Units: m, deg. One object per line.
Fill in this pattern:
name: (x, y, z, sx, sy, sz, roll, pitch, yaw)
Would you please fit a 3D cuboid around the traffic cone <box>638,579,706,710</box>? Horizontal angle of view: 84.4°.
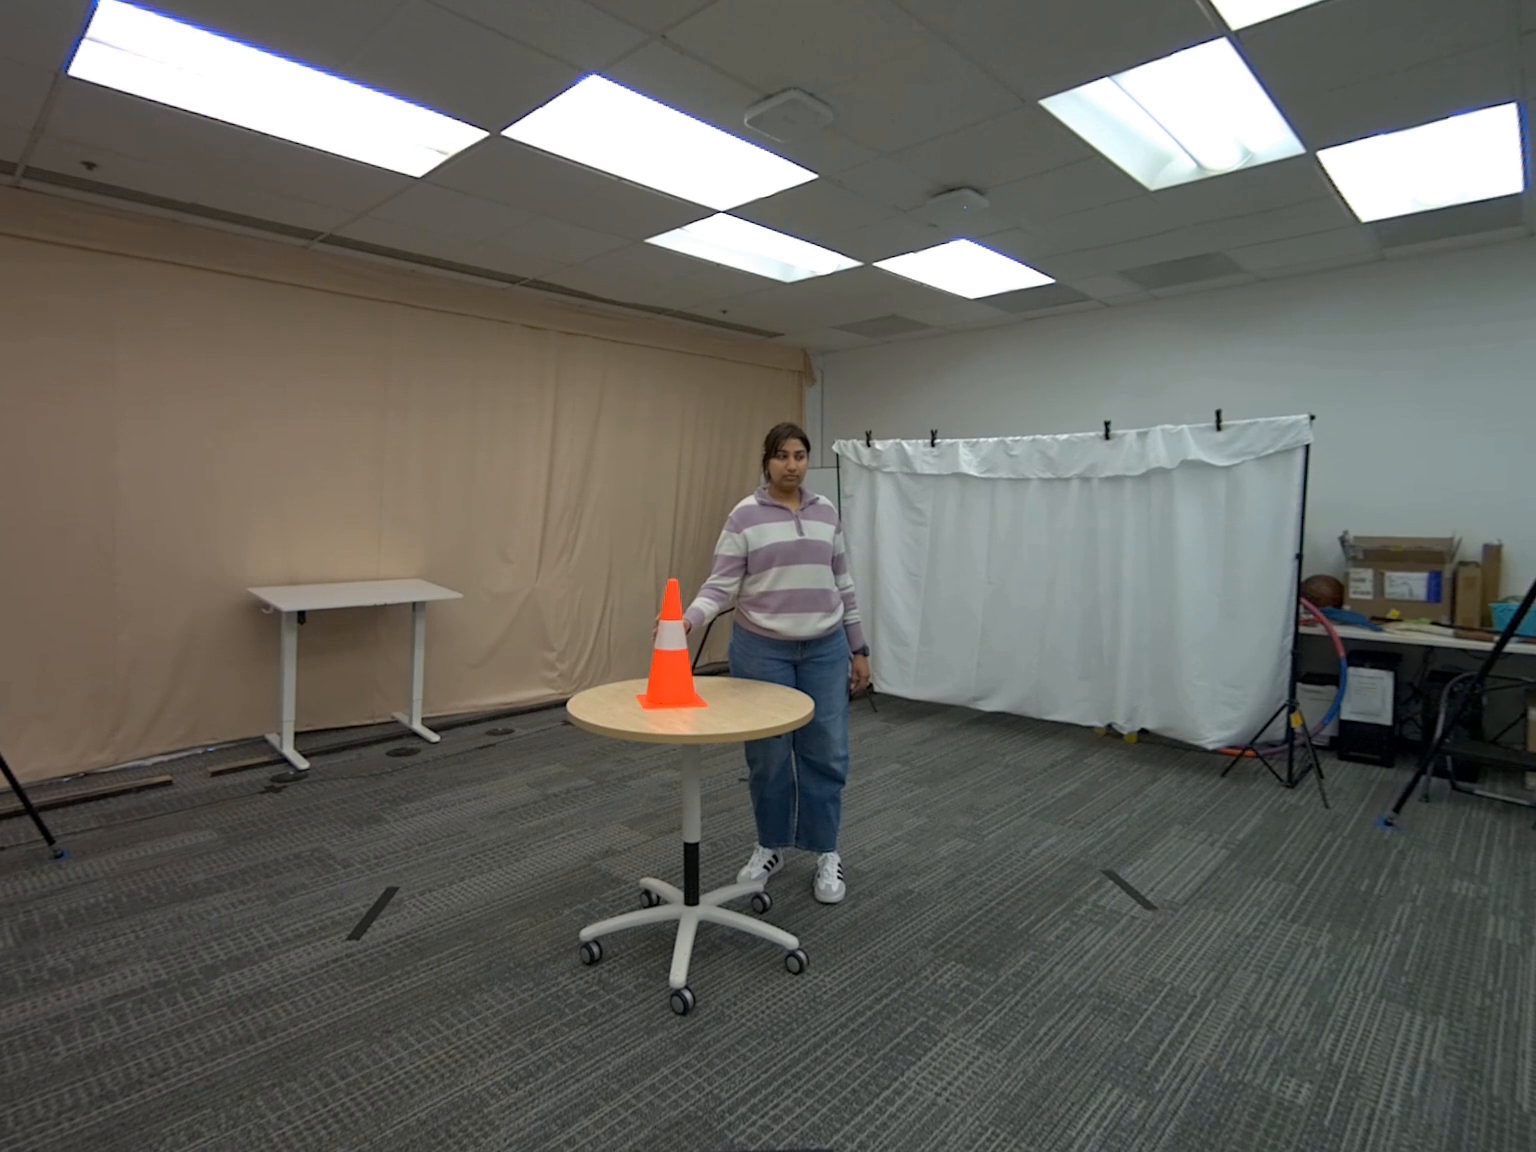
traffic cone: (-0.300, 0.204, 2.623, 0.199, 0.383, 0.209, -1, 3, -19)
